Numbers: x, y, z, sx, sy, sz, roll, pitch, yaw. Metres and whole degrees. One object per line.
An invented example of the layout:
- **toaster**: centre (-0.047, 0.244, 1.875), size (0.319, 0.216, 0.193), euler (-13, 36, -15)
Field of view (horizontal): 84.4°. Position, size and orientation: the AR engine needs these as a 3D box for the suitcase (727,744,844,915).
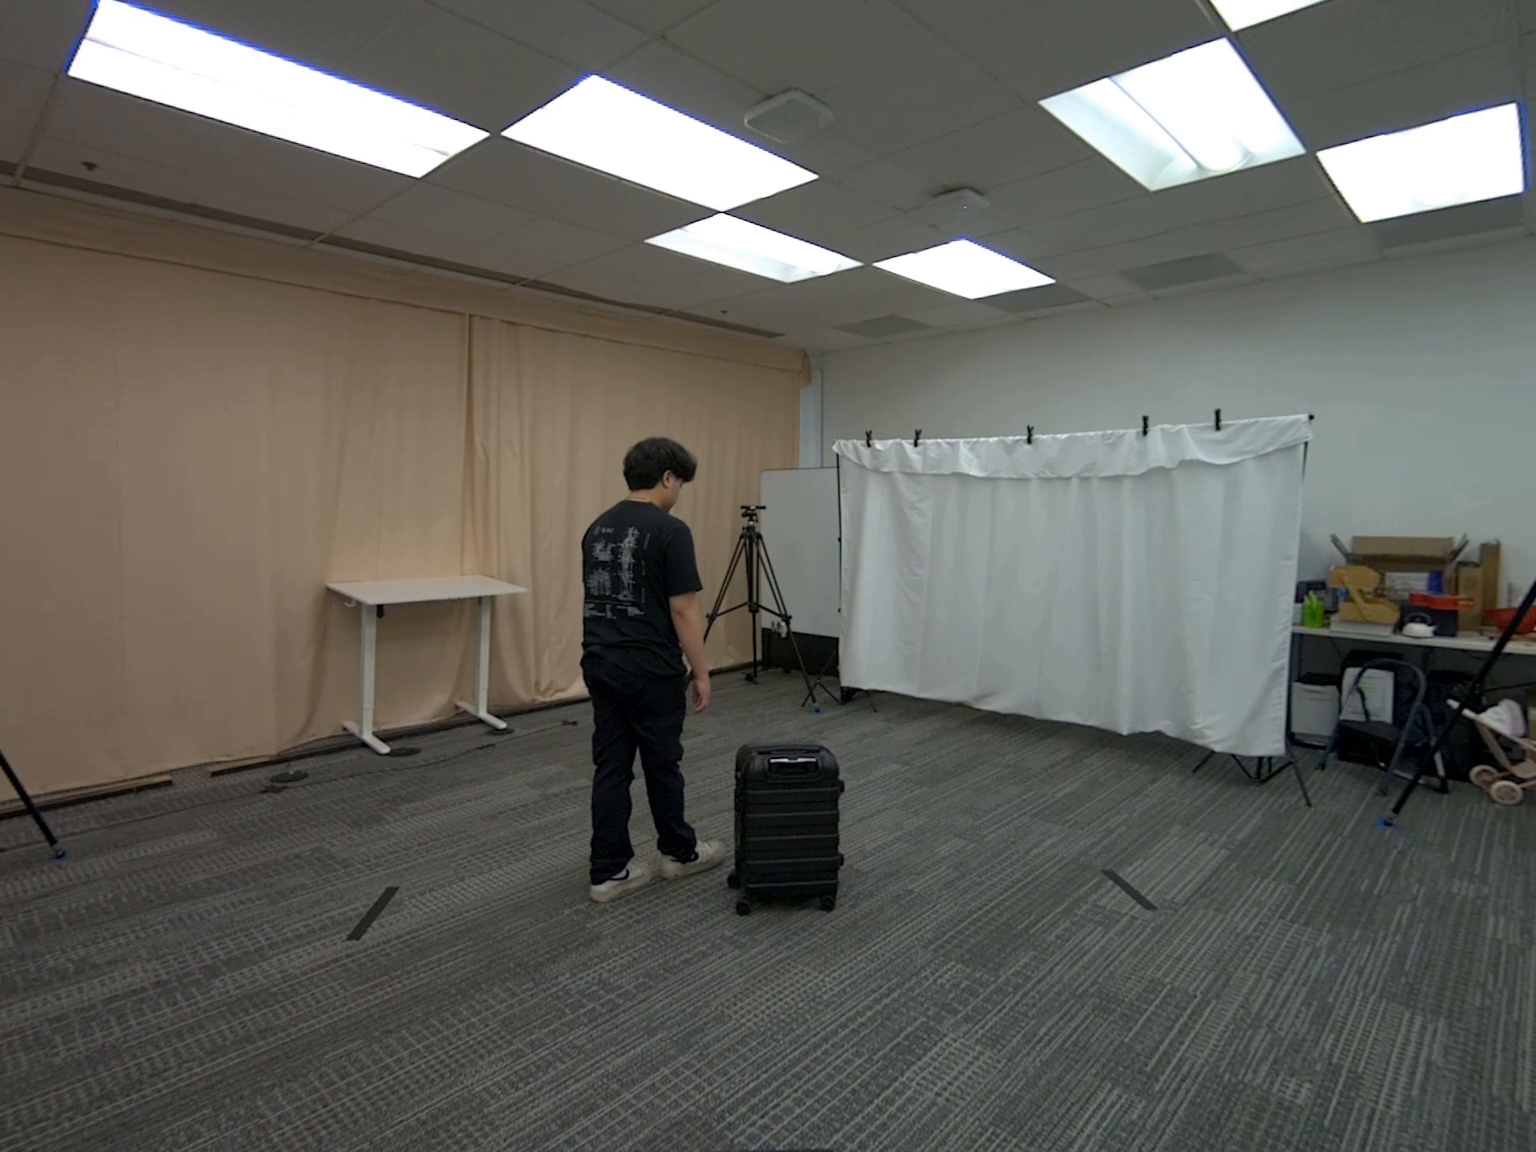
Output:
- **suitcase**: centre (0.067, 0.868, 2.970), size (0.372, 0.548, 0.251), euler (-1, 4, -8)
